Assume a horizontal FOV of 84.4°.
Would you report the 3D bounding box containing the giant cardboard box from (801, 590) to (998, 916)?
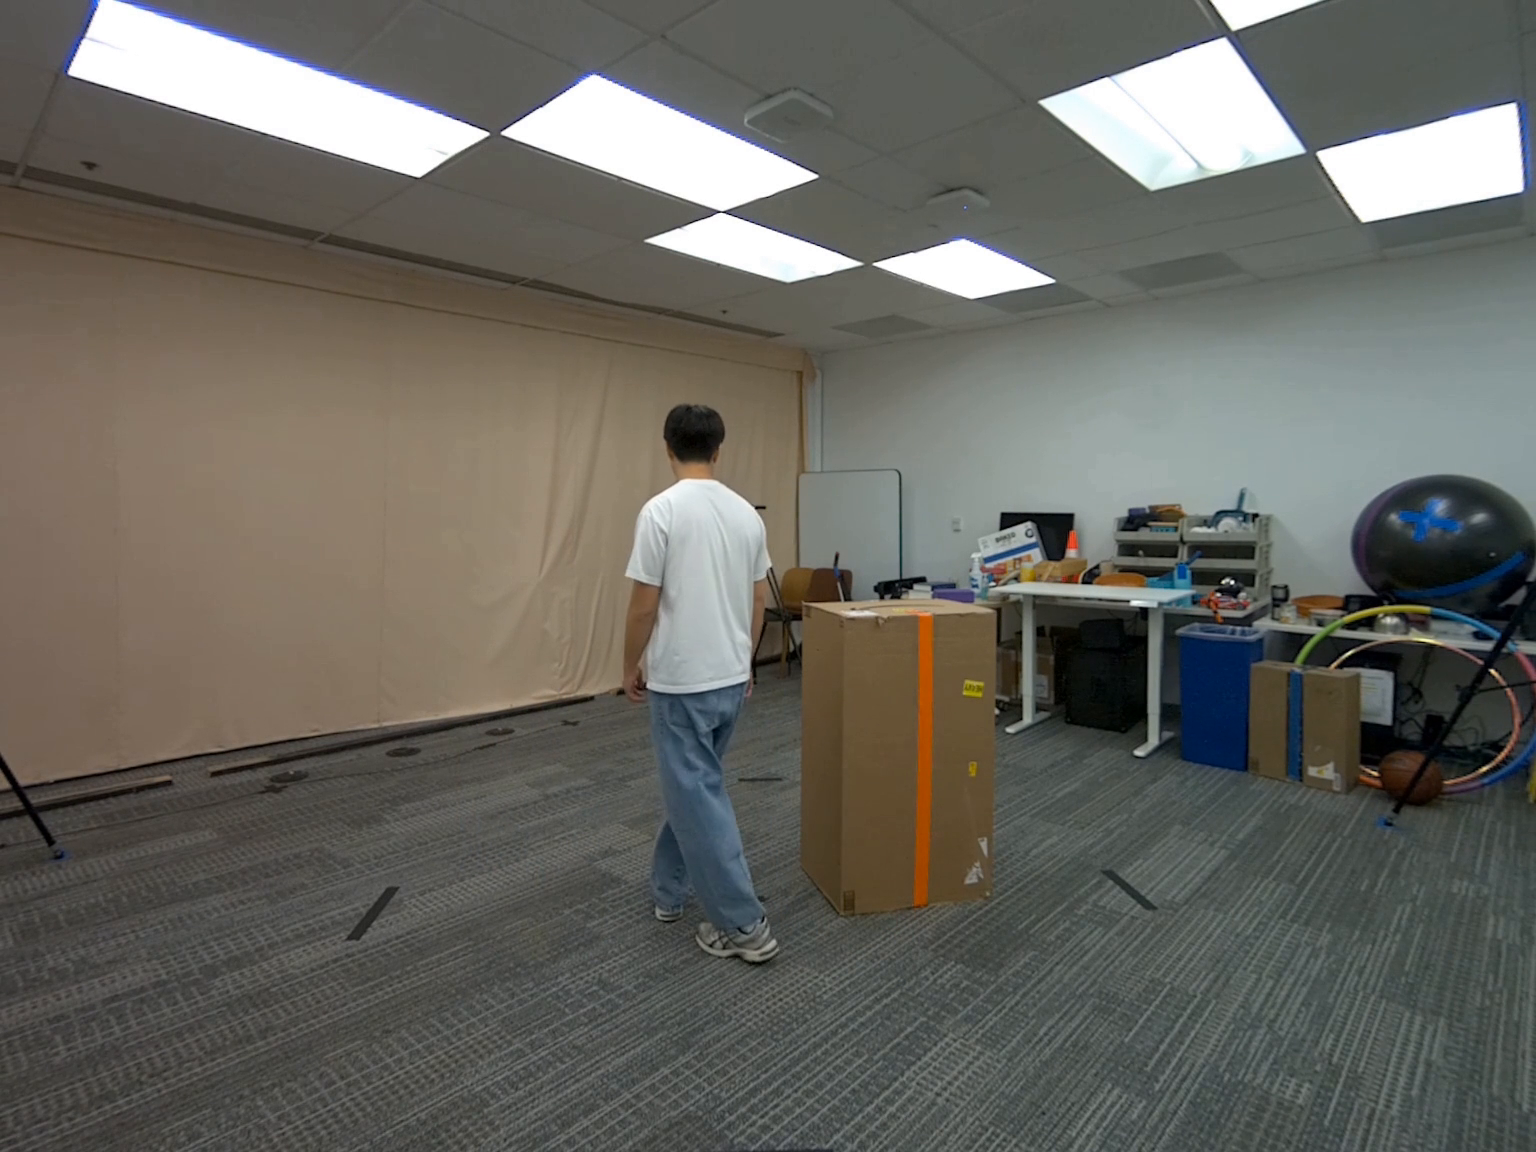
[{"bbox_3d":[0.465,0.622,3.098,0.568,1.024,0.434,-1,3,-16],"label":"giant cardboard box"}]
